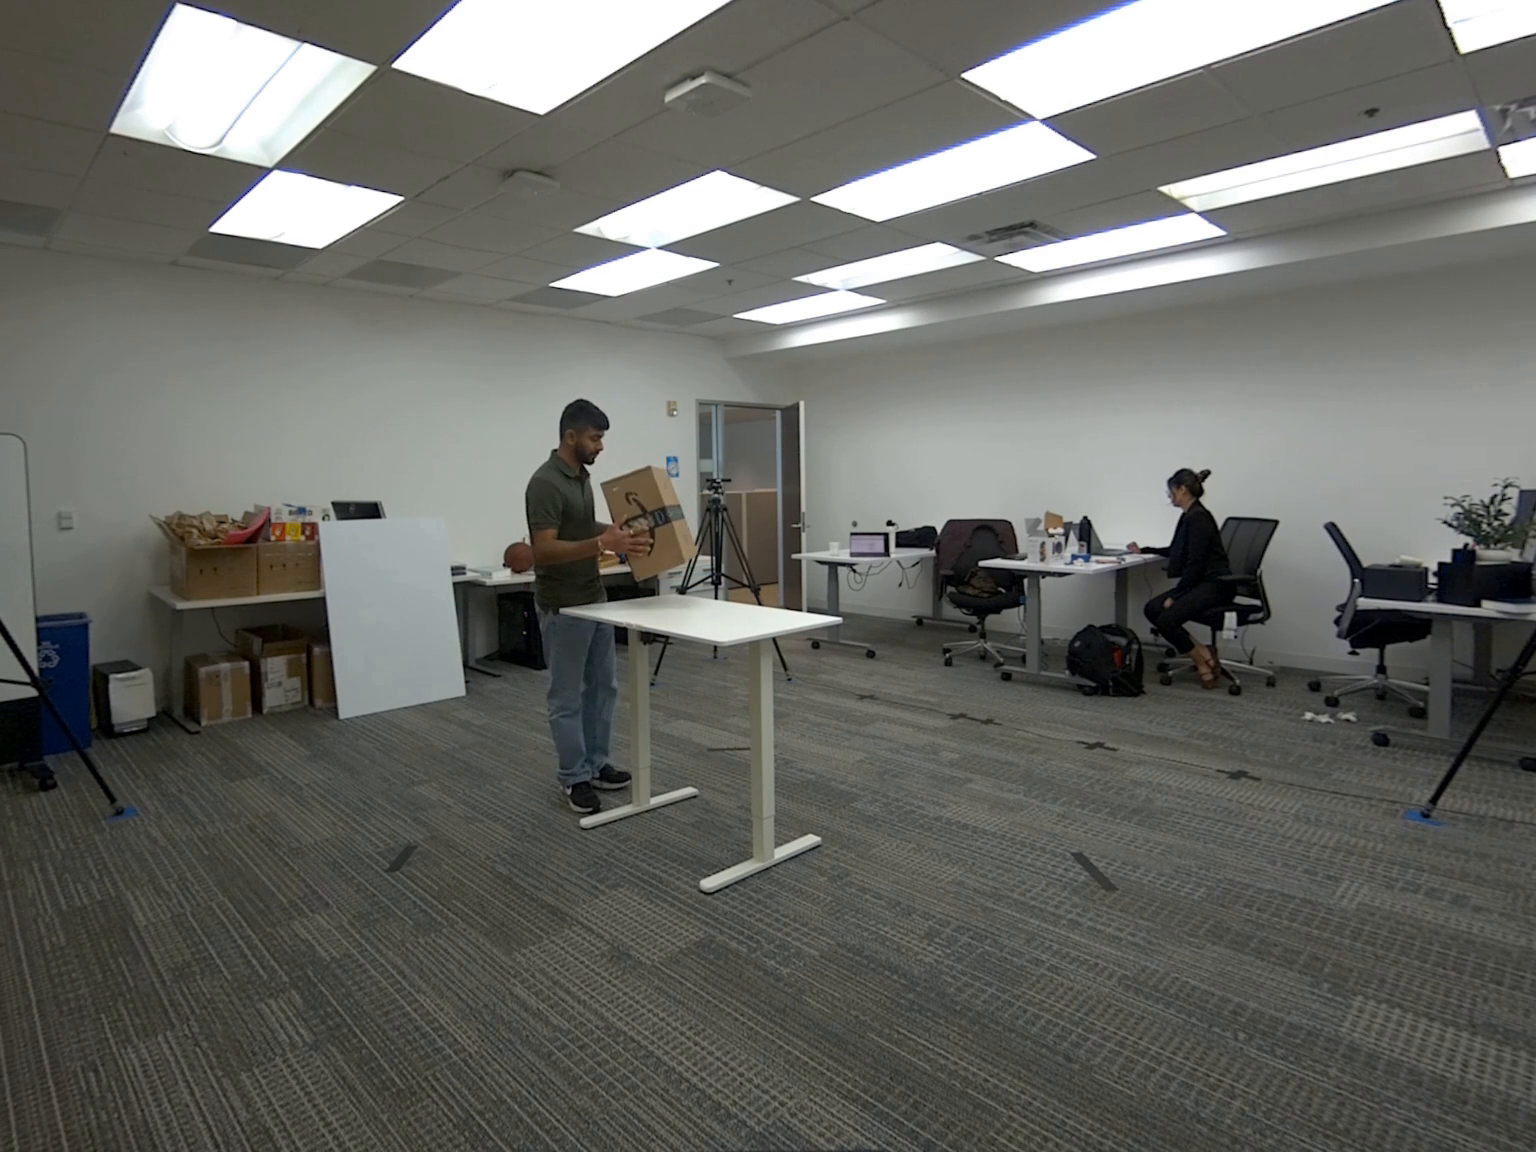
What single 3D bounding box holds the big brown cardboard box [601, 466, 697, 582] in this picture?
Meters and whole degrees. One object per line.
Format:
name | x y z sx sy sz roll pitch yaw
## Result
big brown cardboard box | -0.508 -0.230 3.652 0.234 0.417 0.588 -20 3 4
